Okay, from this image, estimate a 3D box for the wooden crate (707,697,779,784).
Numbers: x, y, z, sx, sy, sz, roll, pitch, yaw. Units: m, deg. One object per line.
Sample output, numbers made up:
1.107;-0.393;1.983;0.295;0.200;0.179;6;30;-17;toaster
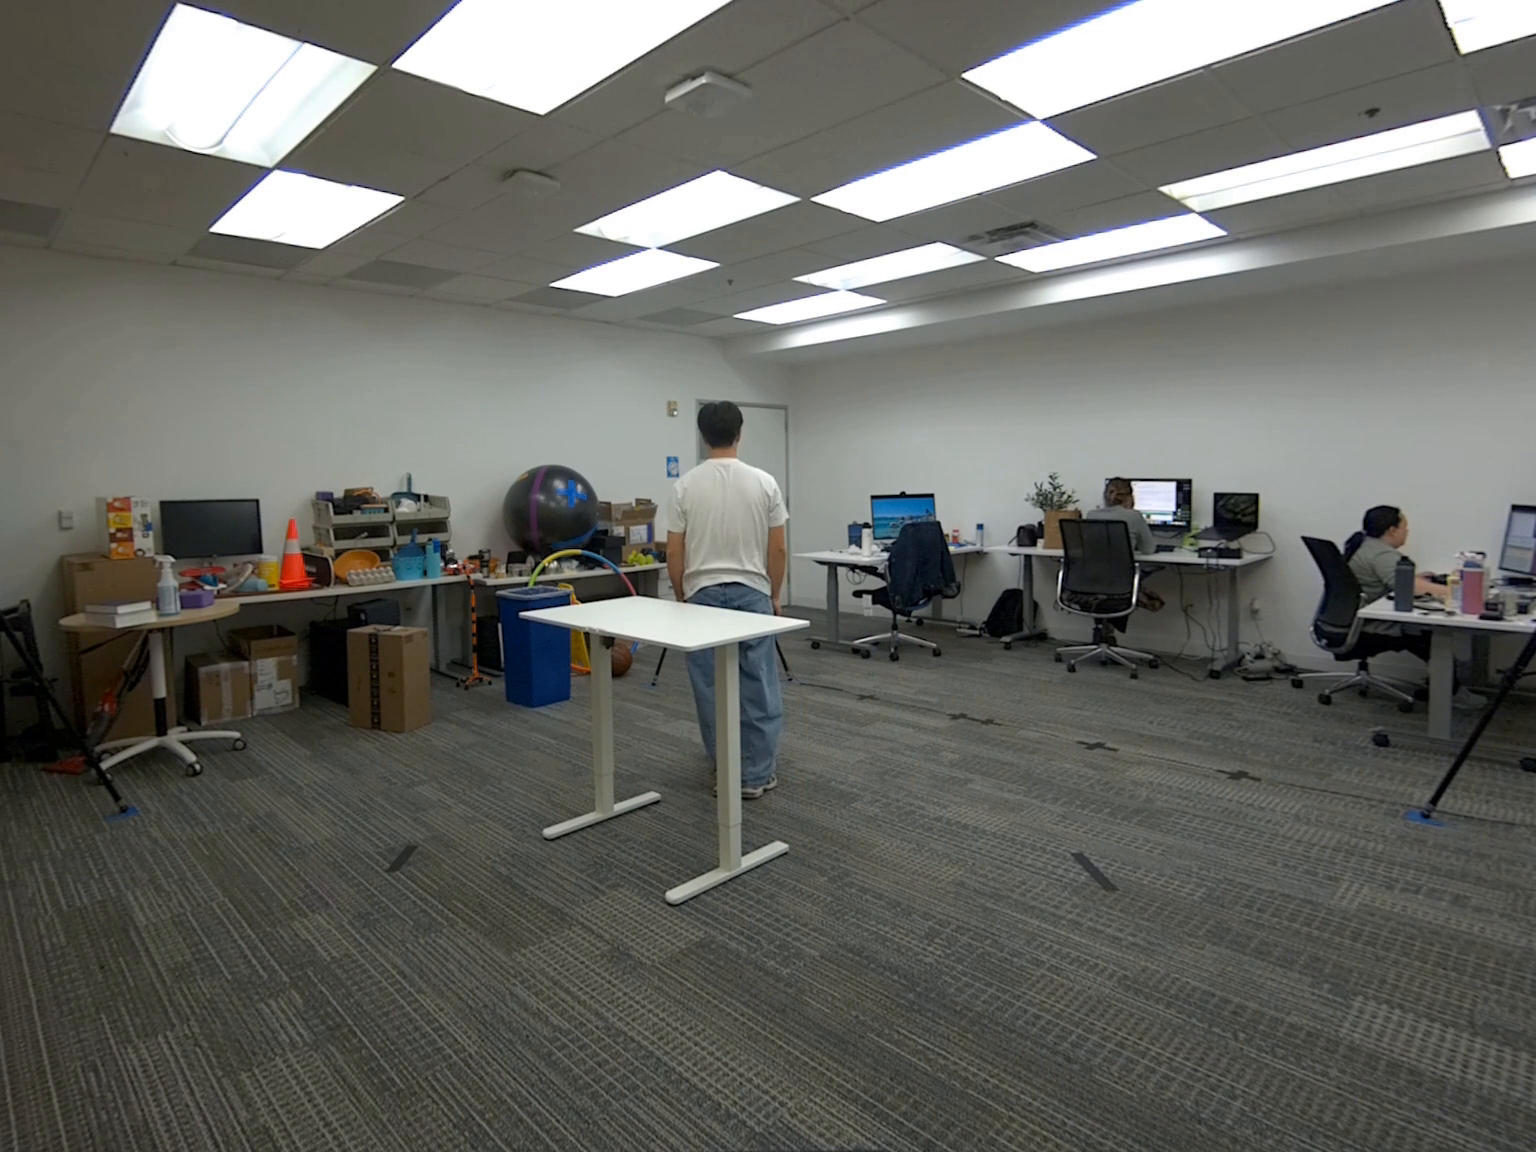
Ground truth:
-0.133;0.798;4.201;0.323;0.297;0.279;-1;21;-5;wooden crate
